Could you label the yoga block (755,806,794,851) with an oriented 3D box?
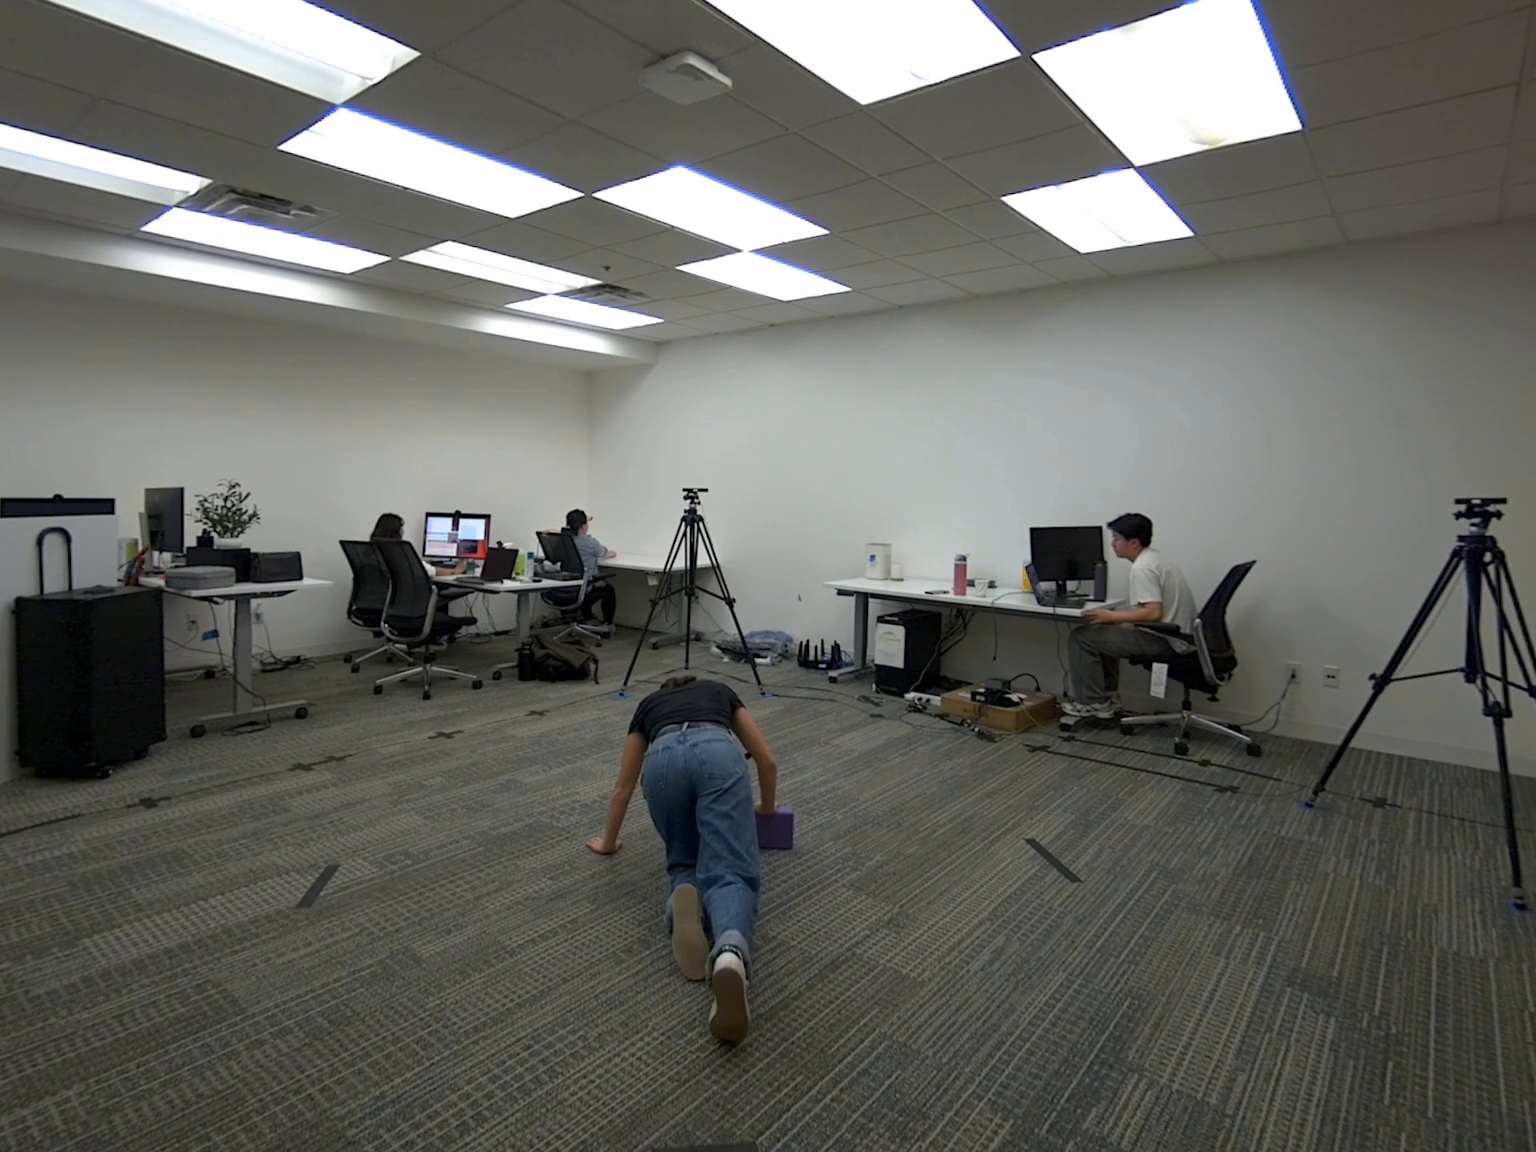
[{"bbox_3d":[-0.012,0.974,3.327,0.229,0.148,0.077,2,3,-2],"label":"yoga block"}]
